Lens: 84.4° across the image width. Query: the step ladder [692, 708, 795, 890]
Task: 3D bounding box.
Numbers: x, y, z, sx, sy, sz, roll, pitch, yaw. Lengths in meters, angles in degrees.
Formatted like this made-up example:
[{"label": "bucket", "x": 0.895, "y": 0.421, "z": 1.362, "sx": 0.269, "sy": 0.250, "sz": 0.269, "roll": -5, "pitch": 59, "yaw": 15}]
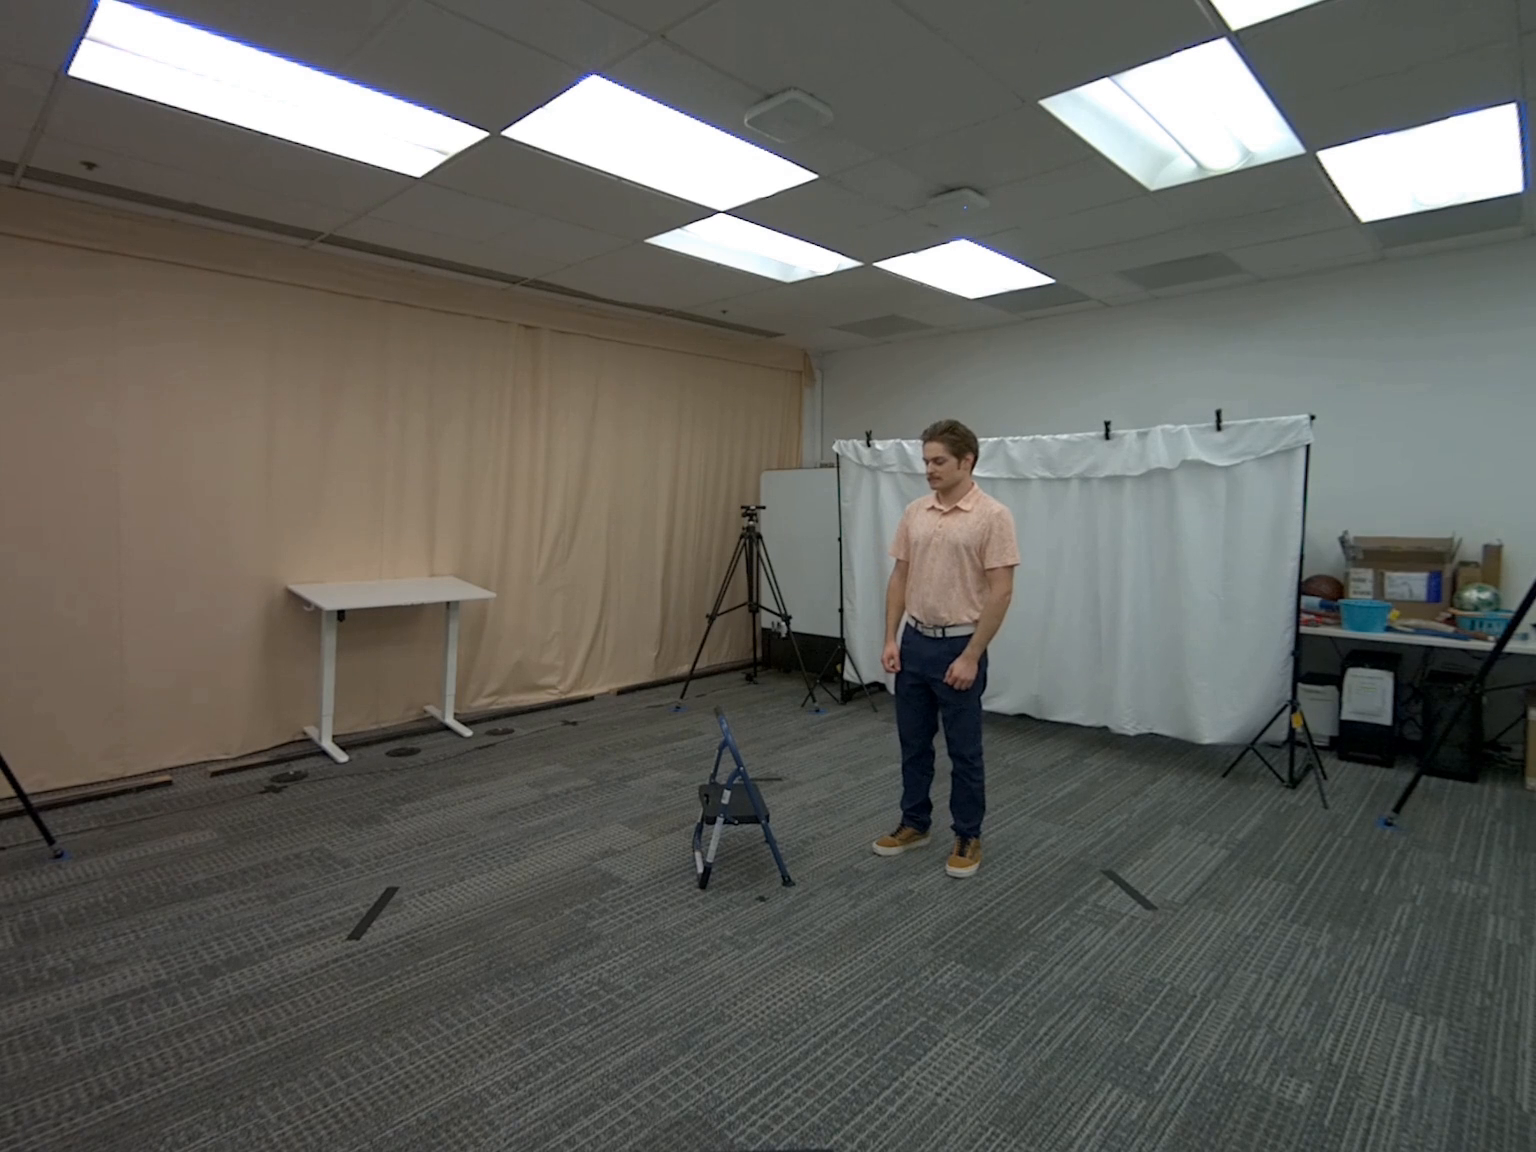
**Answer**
[{"label": "step ladder", "x": -0.112, "y": 0.827, "z": 3.259, "sx": 0.346, "sy": 0.605, "sz": 0.435, "roll": -1, "pitch": 3, "yaw": -9}]
